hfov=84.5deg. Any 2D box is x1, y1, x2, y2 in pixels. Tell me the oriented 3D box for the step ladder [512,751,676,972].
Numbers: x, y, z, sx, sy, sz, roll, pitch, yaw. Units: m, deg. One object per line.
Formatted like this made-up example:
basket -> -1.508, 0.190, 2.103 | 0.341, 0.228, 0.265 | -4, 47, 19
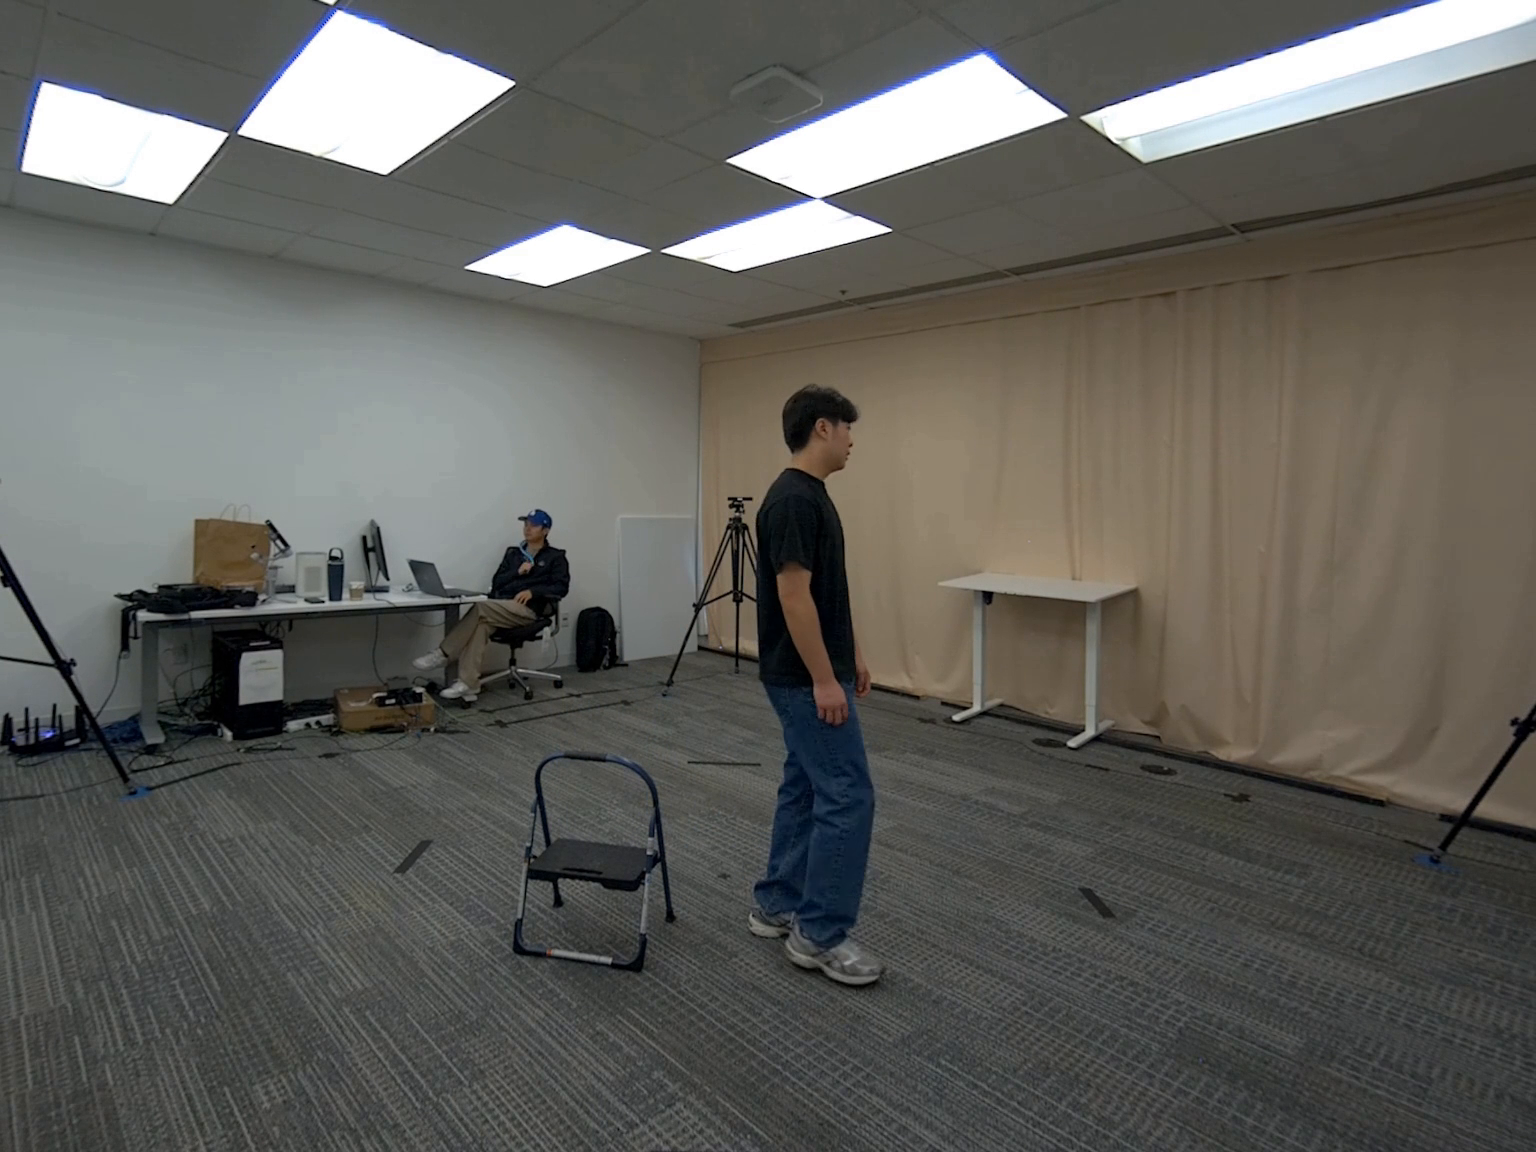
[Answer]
step ladder -> -0.543, 0.841, 2.656 | 0.434, 0.605, 0.347 | 1, 3, 9
